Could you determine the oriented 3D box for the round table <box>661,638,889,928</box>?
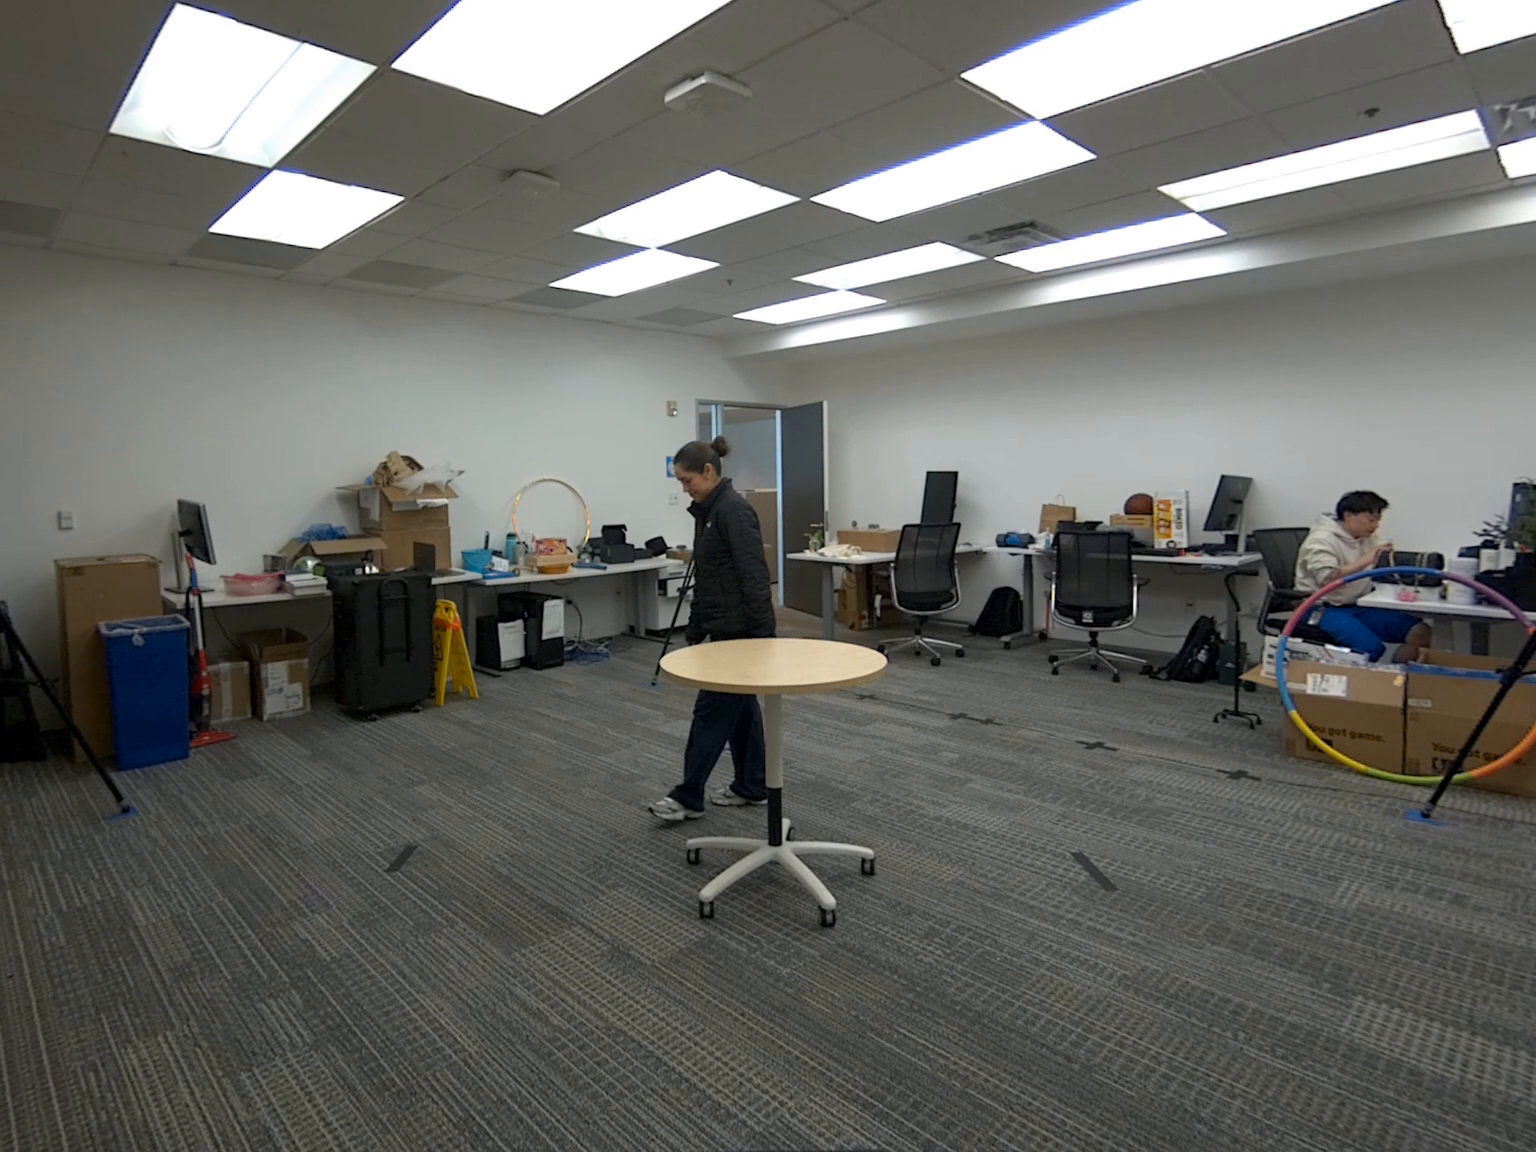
[{"bbox_3d":[0.008,0.671,2.935,0.784,0.784,0.789,-1,4,-2],"label":"round table"}]
